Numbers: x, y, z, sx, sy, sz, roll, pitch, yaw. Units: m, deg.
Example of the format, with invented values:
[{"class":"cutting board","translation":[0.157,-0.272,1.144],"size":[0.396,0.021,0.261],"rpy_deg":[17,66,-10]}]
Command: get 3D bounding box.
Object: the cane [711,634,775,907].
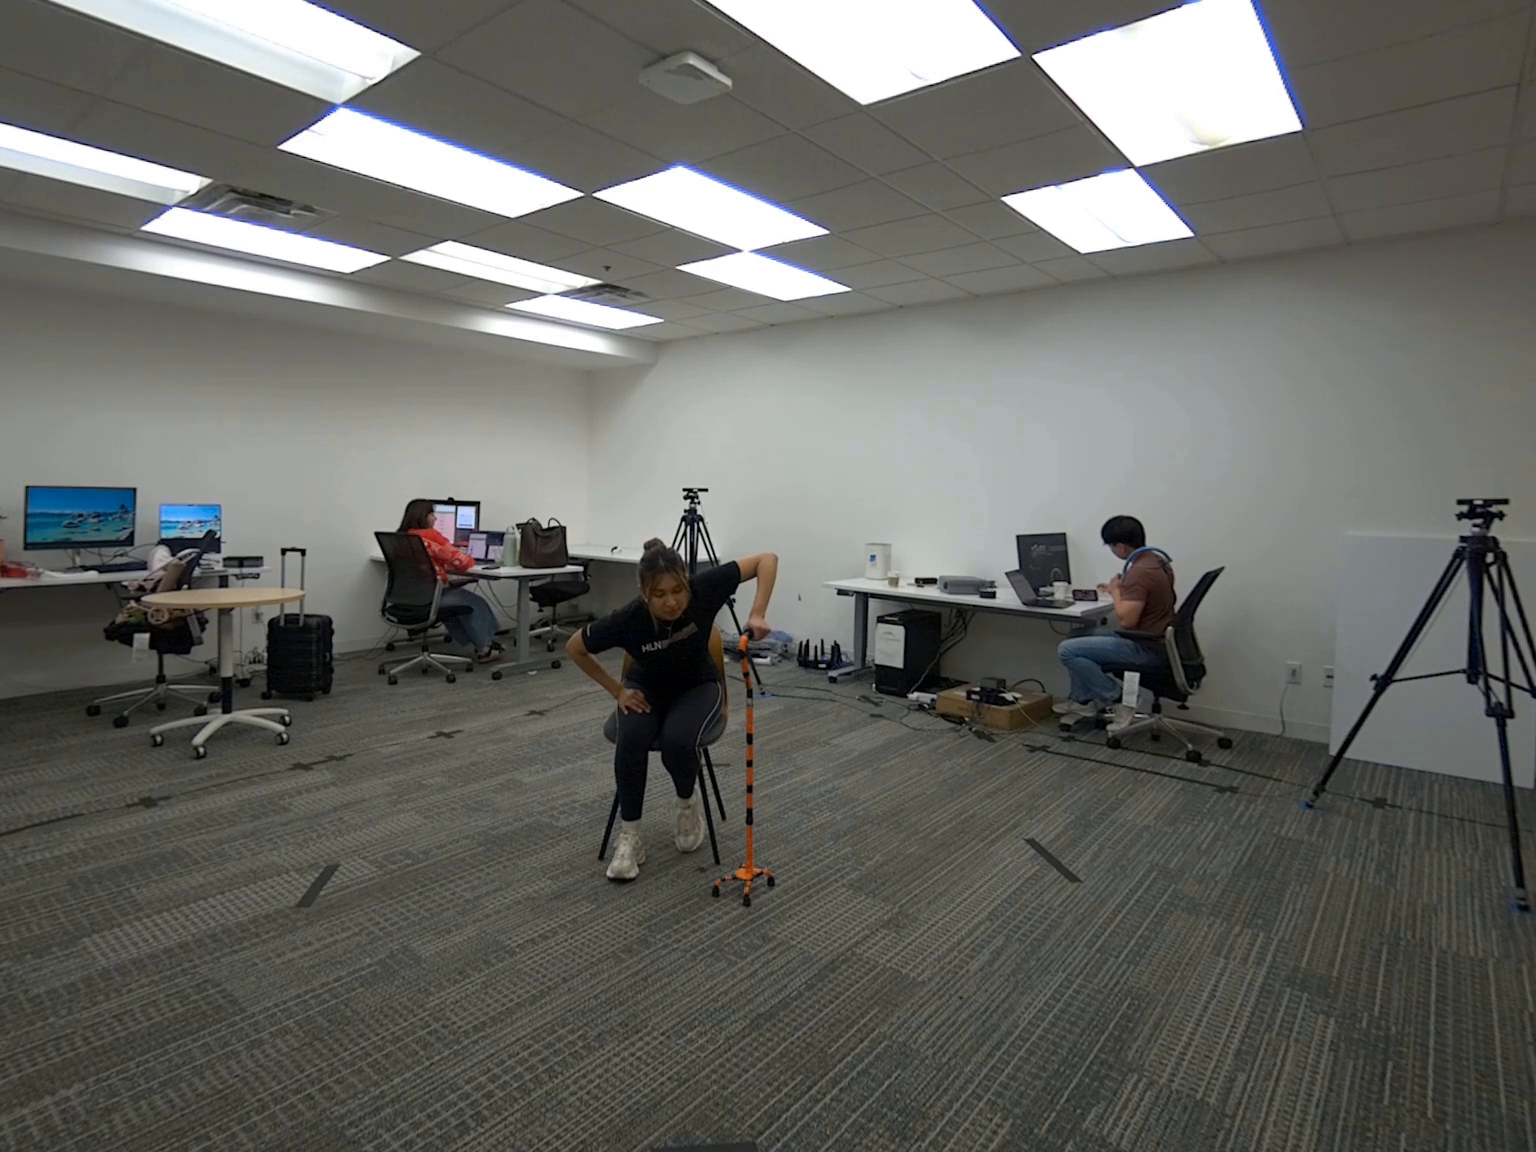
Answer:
[{"class":"cane","translation":[-0.084,0.639,2.935],"size":[0.156,0.907,0.201],"rpy_deg":[1,1,30]}]
